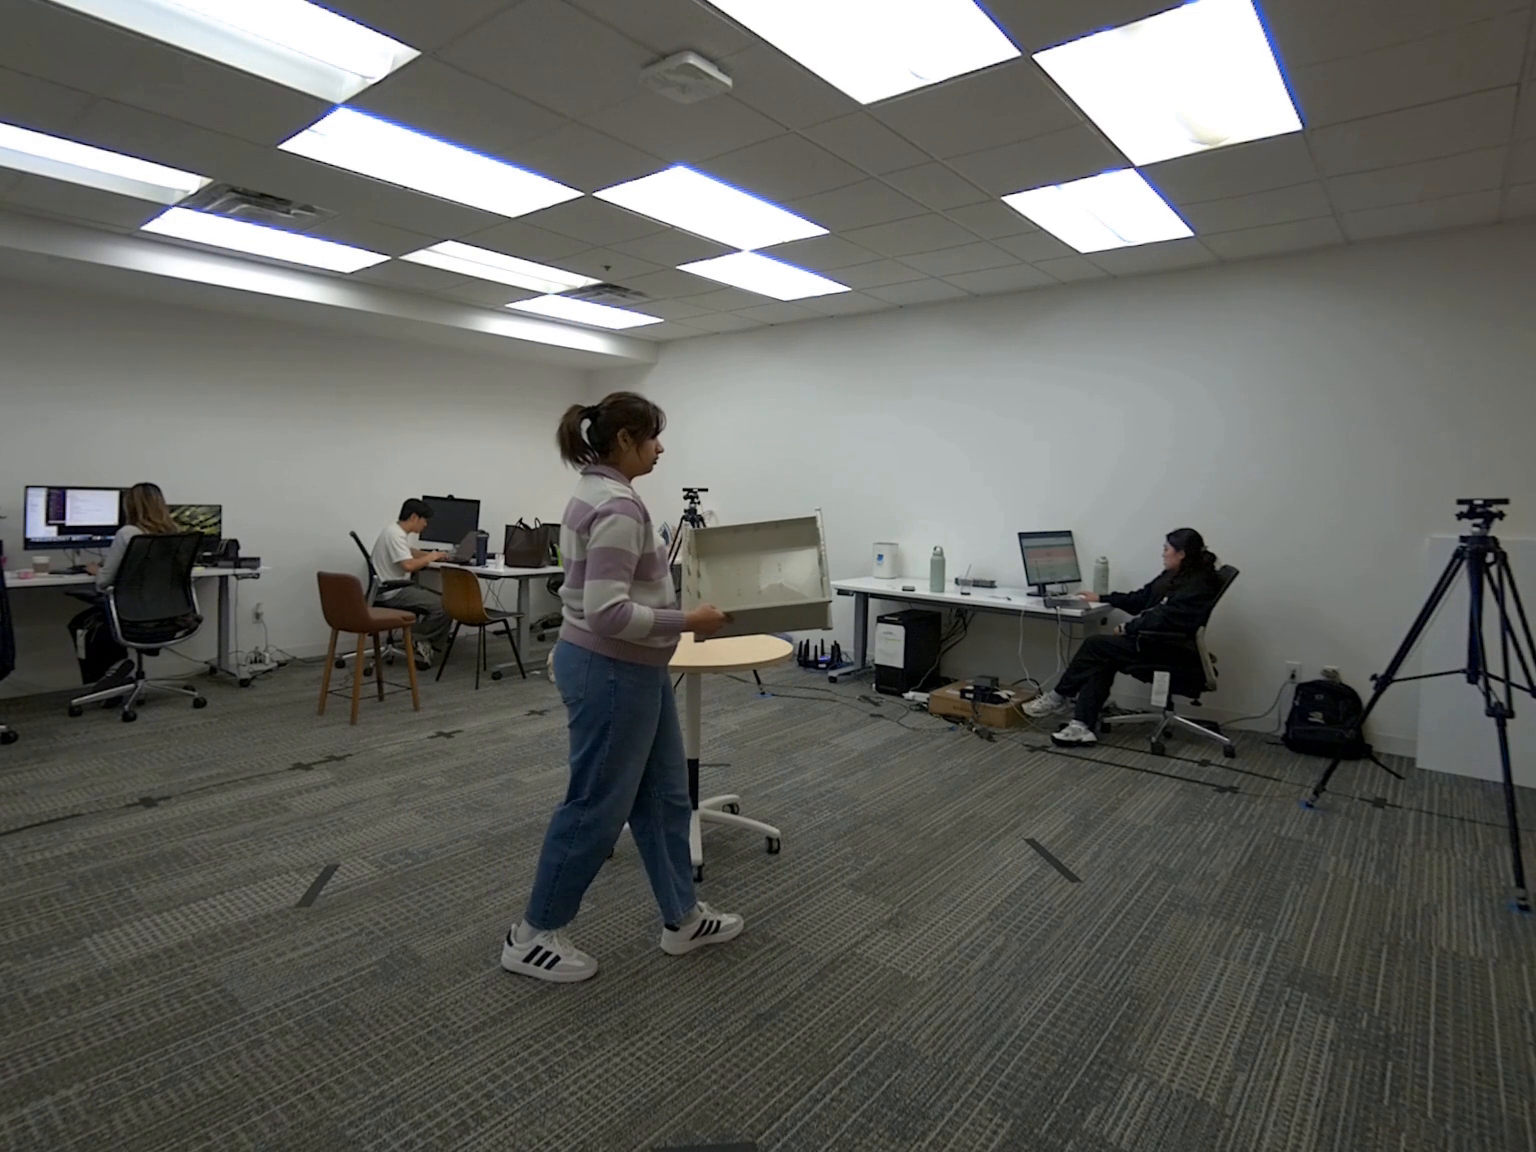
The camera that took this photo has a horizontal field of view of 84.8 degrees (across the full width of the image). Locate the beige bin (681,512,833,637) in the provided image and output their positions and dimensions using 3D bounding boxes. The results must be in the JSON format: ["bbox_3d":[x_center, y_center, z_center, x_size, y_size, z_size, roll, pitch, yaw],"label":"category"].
[{"bbox_3d":[-0.042,-0.014,2.527,0.425,0.388,0.182,-6,-34,6],"label":"beige bin"}]
